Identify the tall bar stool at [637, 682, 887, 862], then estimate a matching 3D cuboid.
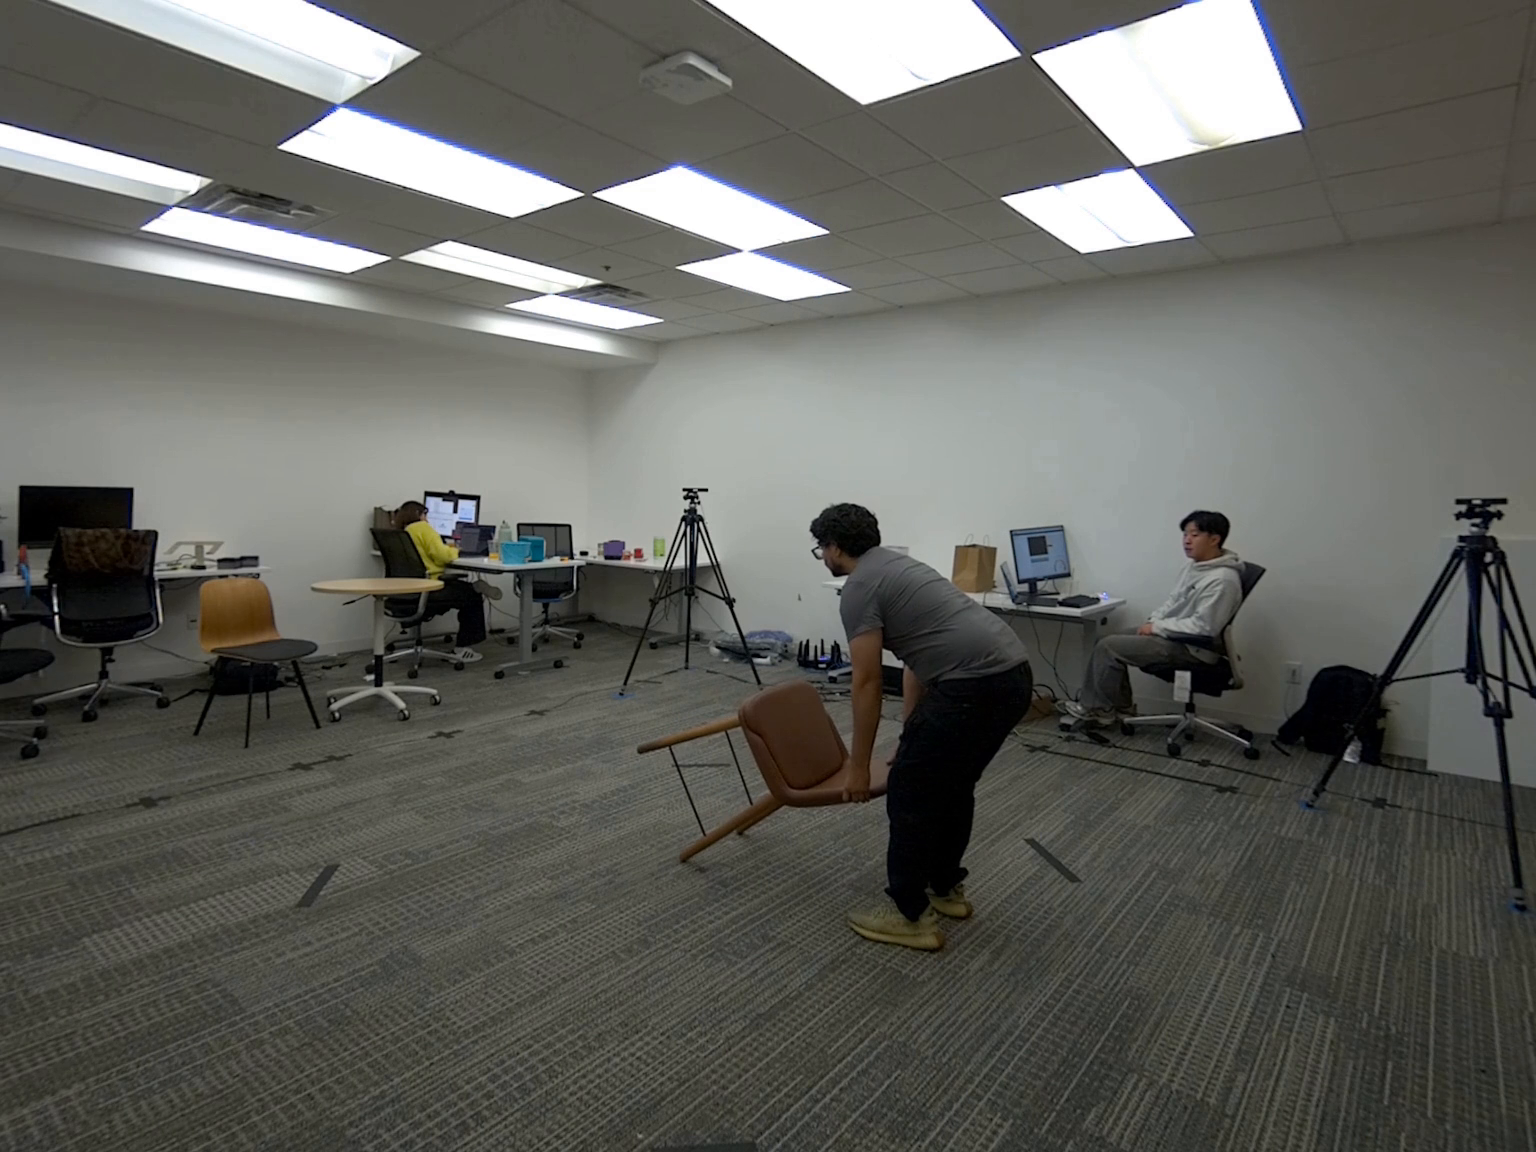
[{"bbox_3d":[0.002,0.666,3.126,0.900,0.476,0.443,-29,-15,34],"label":"tall bar stool"}]
